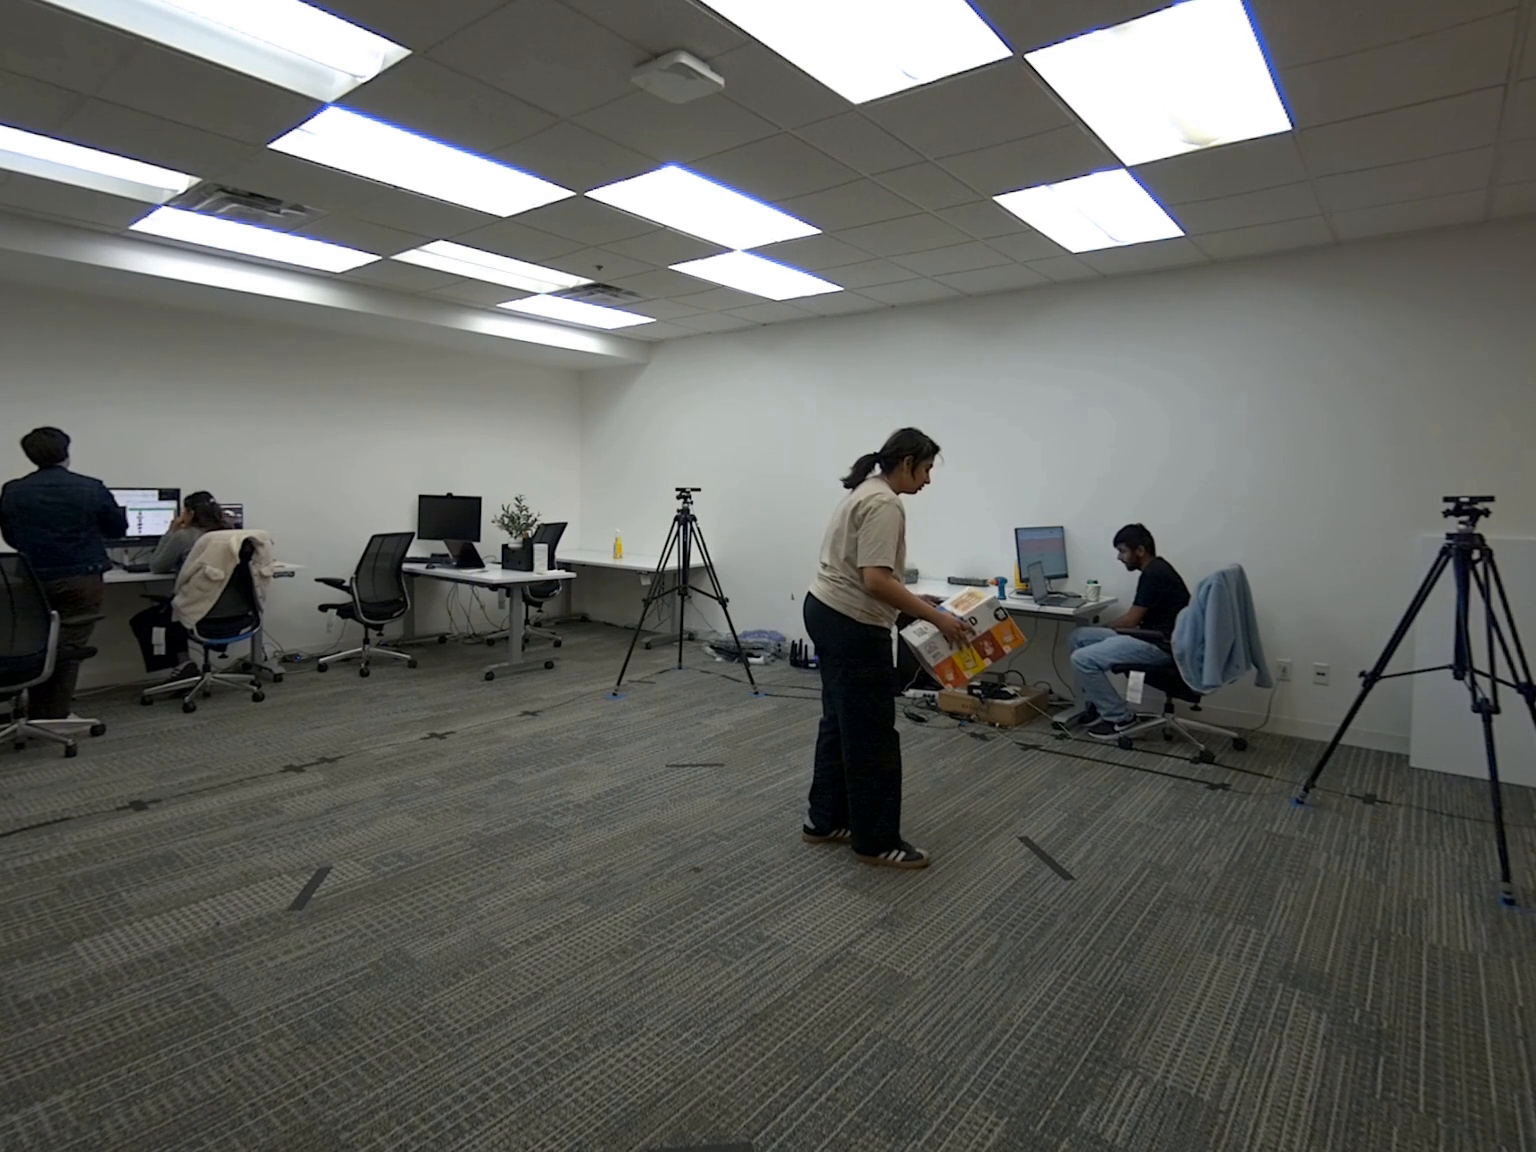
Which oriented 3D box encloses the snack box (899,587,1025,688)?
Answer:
[{"bbox_3d":[0.731,0.233,3.280,0.340,0.205,0.405,-34,3,2],"label":"snack box"}]
